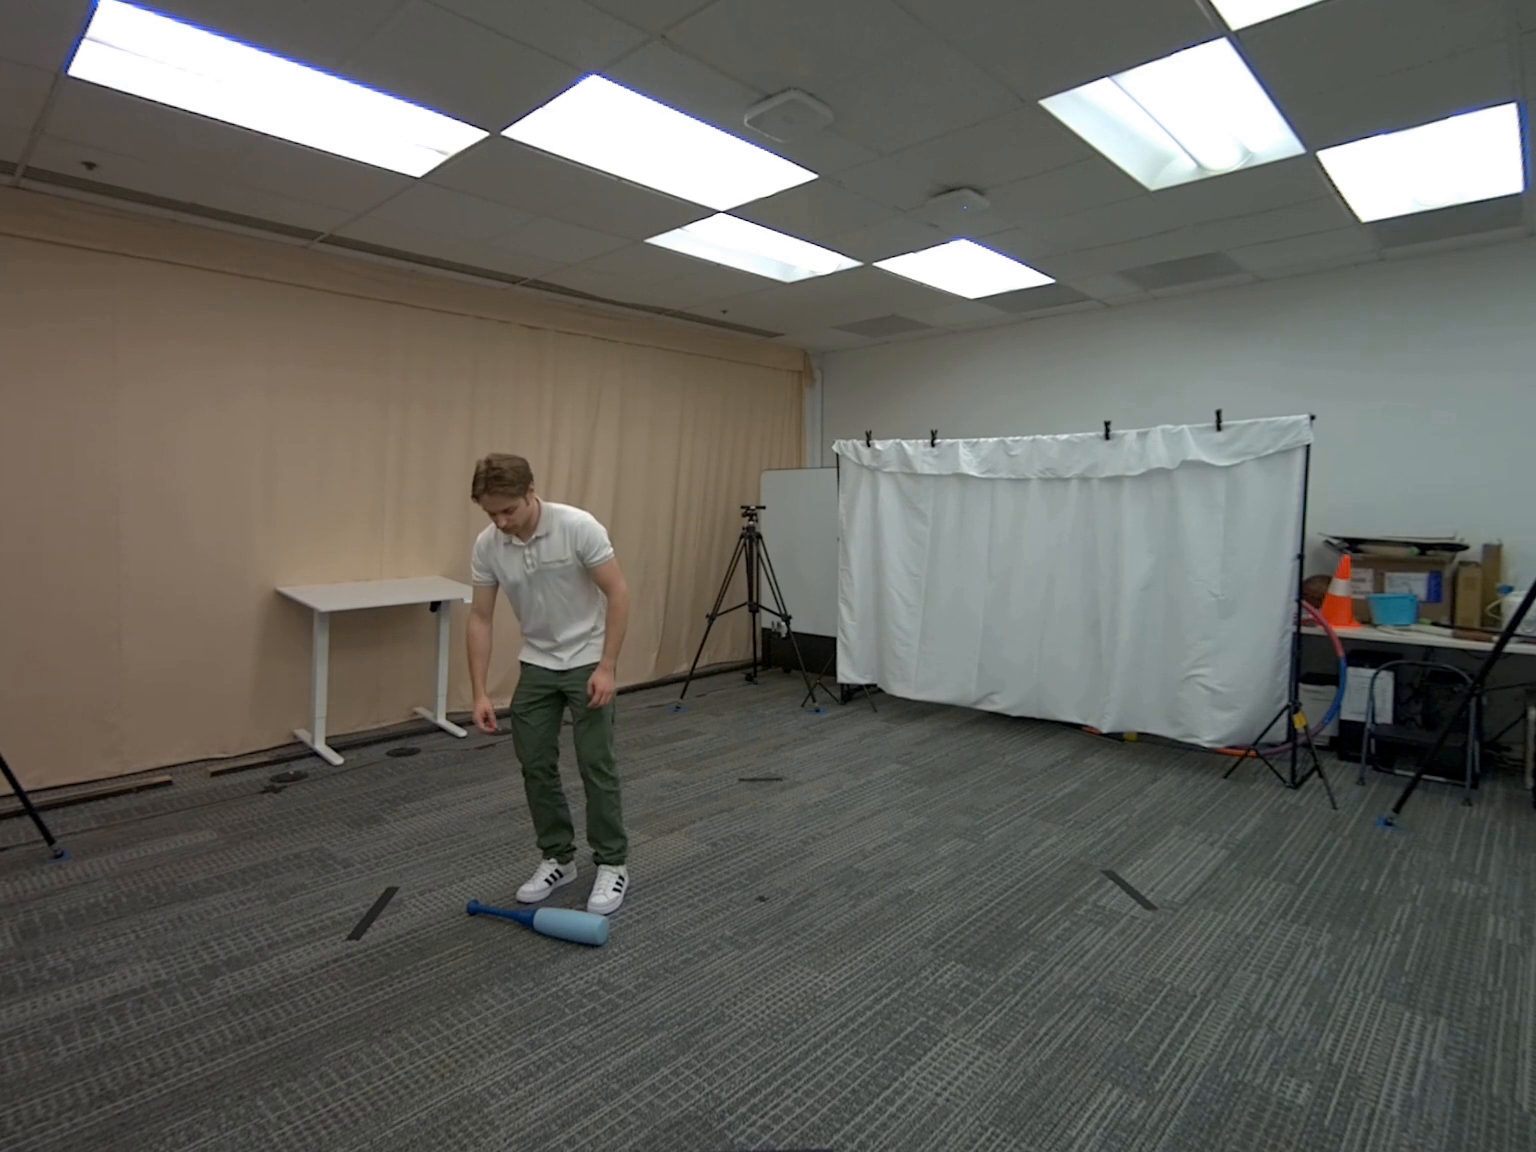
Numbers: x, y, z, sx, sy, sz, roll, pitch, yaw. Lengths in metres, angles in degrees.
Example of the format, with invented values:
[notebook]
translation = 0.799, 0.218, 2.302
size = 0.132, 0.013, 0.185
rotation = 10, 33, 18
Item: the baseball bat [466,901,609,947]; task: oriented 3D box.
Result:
[baseball bat]
translation = -0.773, 1.133, 2.772
size = 0.555, 0.089, 0.087
rotation = -3, 3, 22
